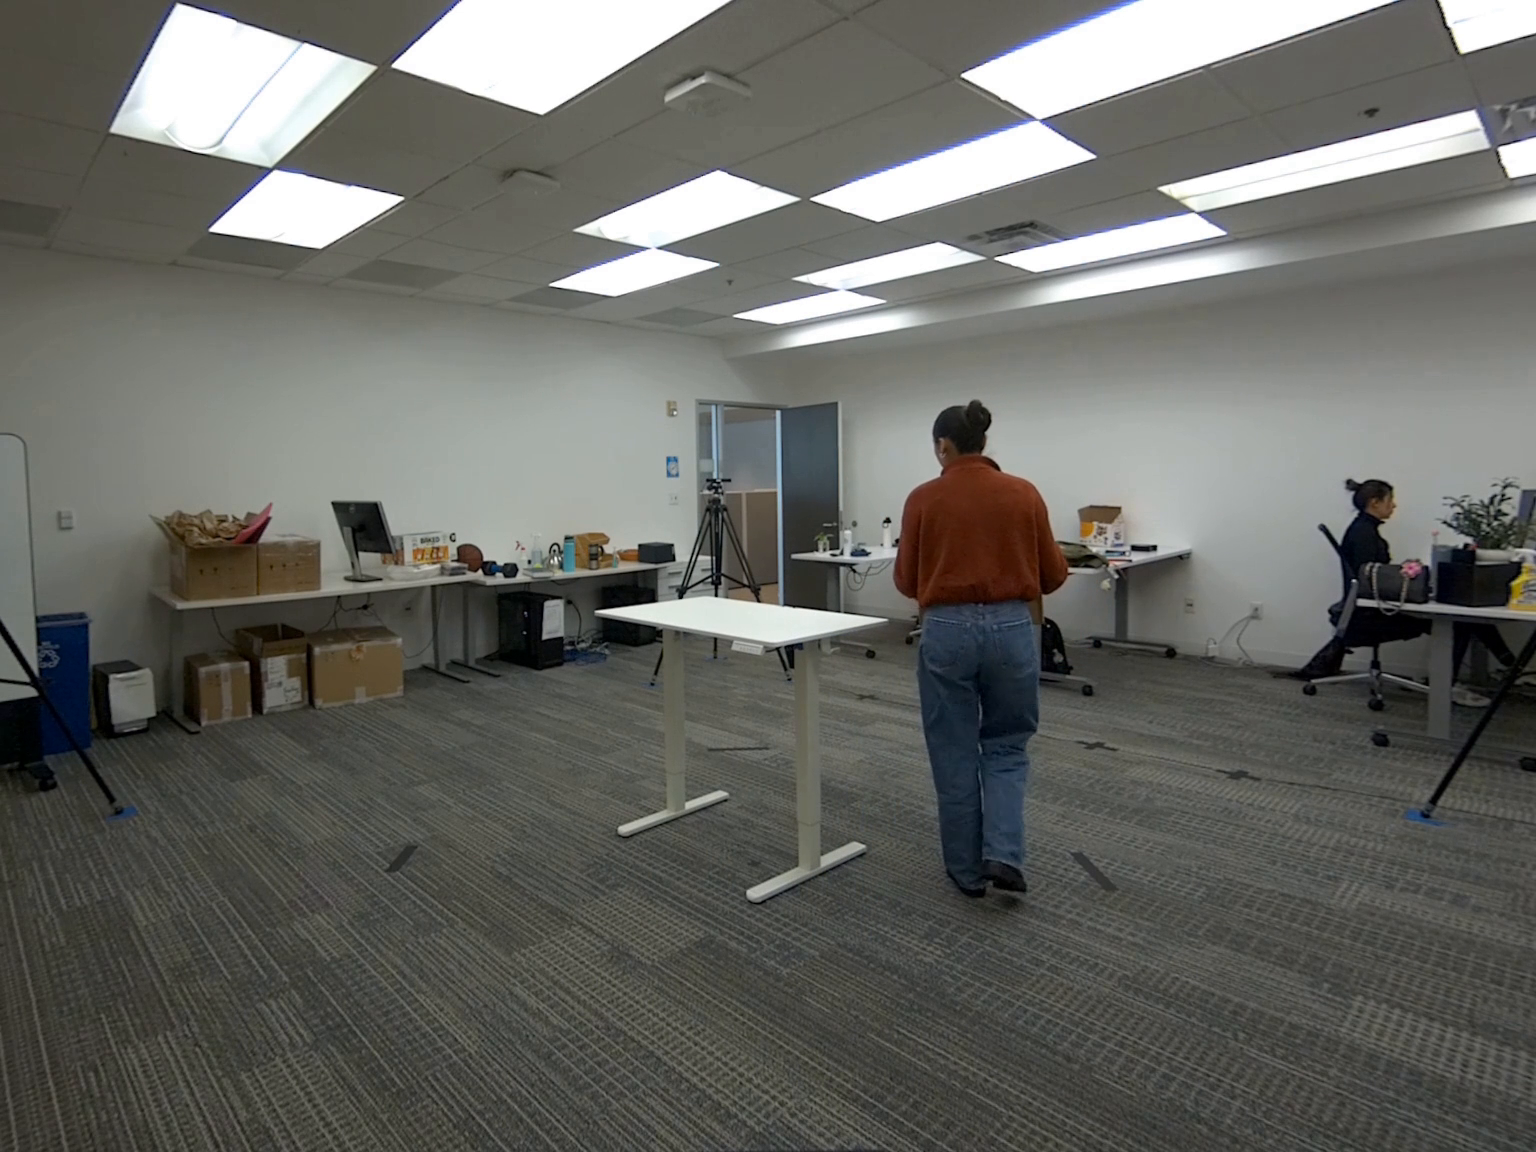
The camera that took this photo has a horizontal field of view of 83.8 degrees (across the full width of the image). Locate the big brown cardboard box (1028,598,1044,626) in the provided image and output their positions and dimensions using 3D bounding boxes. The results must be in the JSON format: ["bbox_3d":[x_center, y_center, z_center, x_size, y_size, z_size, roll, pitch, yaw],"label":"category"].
[{"bbox_3d":[0.783,0.078,3.222,0.422,0.234,0.579,-1,-5,10],"label":"big brown cardboard box"}]
